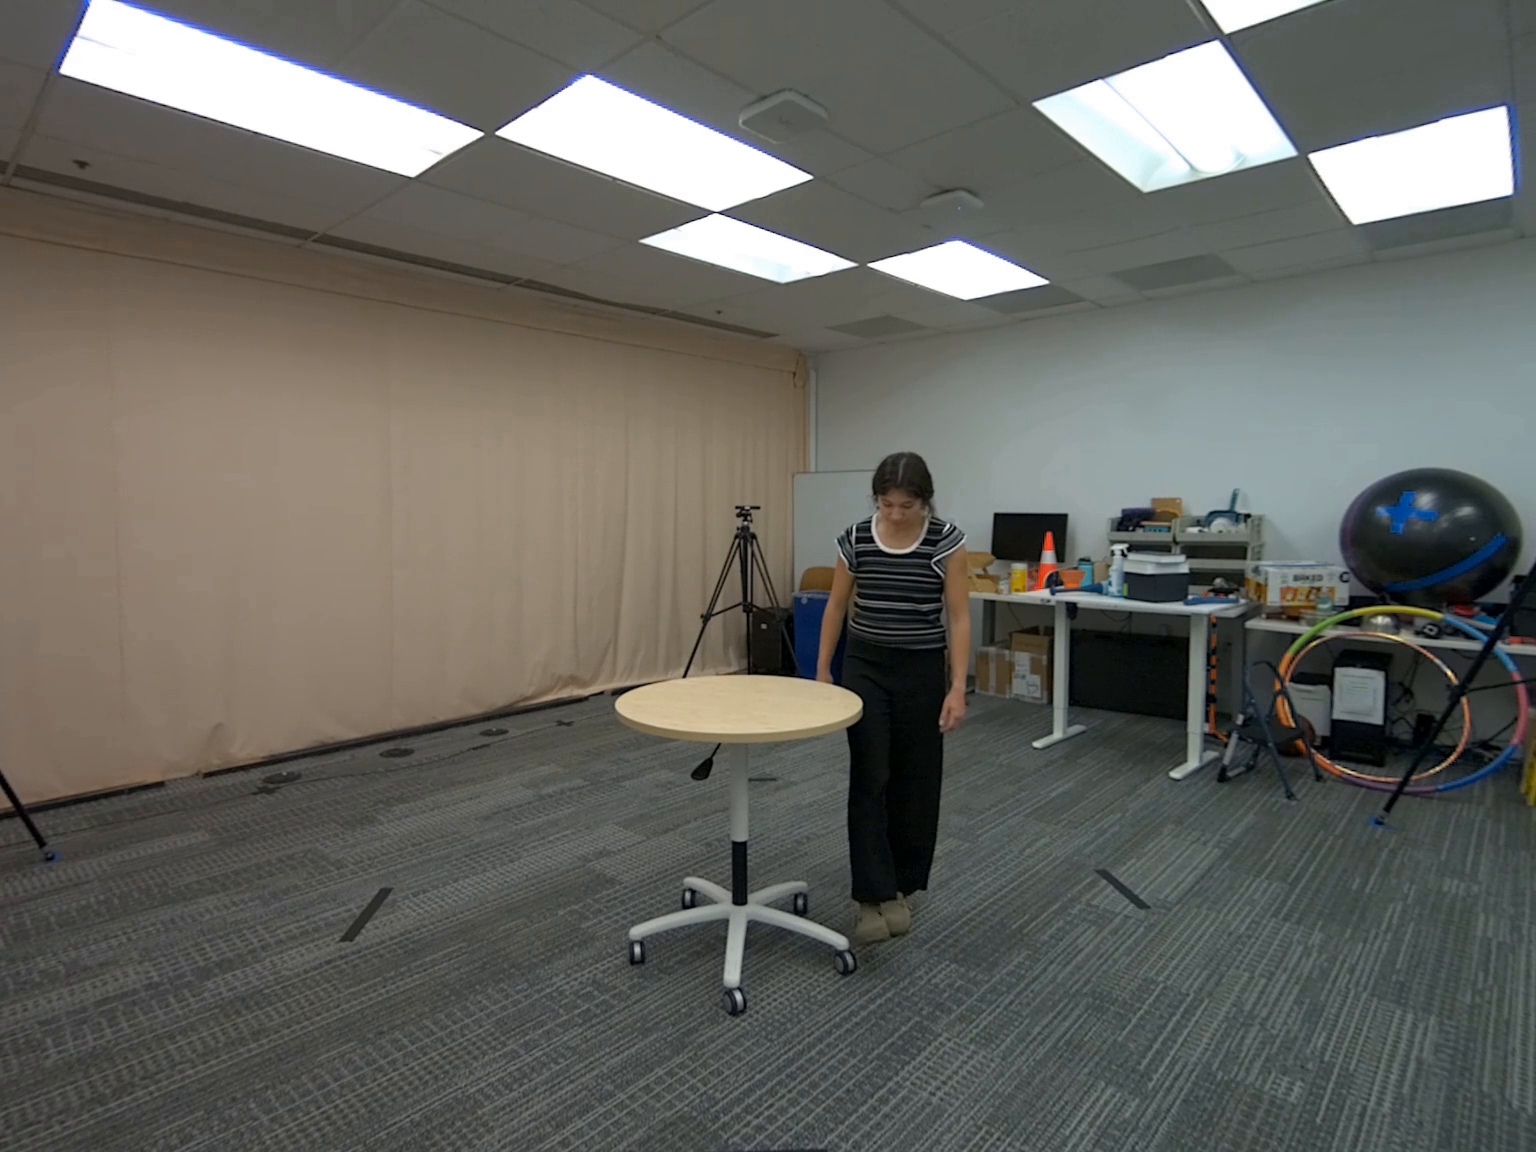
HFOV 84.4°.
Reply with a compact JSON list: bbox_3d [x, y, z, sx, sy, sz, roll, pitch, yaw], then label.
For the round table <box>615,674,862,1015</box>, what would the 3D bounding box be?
[{"bbox_3d":[-0.076,0.780,2.645,0.784,0.784,0.788,-1,4,-2],"label":"round table"}]
